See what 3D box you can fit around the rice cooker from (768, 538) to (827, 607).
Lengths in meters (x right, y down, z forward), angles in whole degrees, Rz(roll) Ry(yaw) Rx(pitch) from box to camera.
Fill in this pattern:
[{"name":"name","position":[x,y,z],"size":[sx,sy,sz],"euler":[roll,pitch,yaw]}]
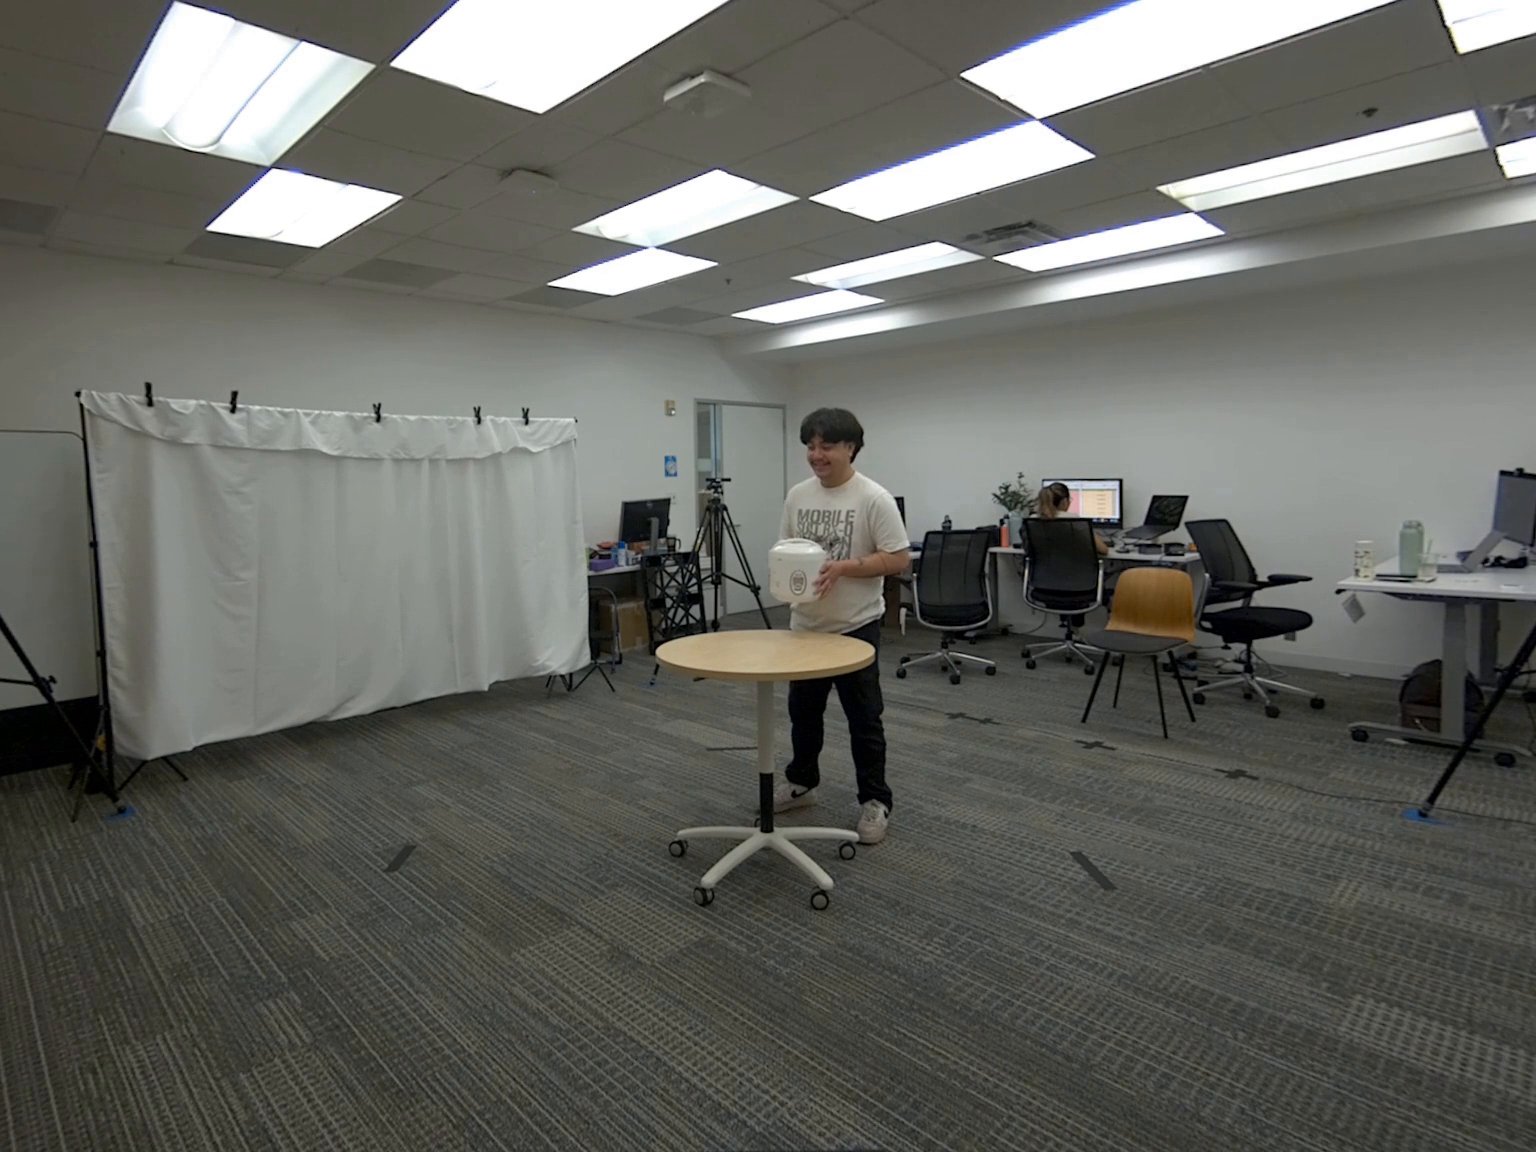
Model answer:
[{"name":"rice cooker","position":[0.117,-0.025,3.221],"size":[0.221,0.232,0.218],"euler":[-1,6,0]}]
